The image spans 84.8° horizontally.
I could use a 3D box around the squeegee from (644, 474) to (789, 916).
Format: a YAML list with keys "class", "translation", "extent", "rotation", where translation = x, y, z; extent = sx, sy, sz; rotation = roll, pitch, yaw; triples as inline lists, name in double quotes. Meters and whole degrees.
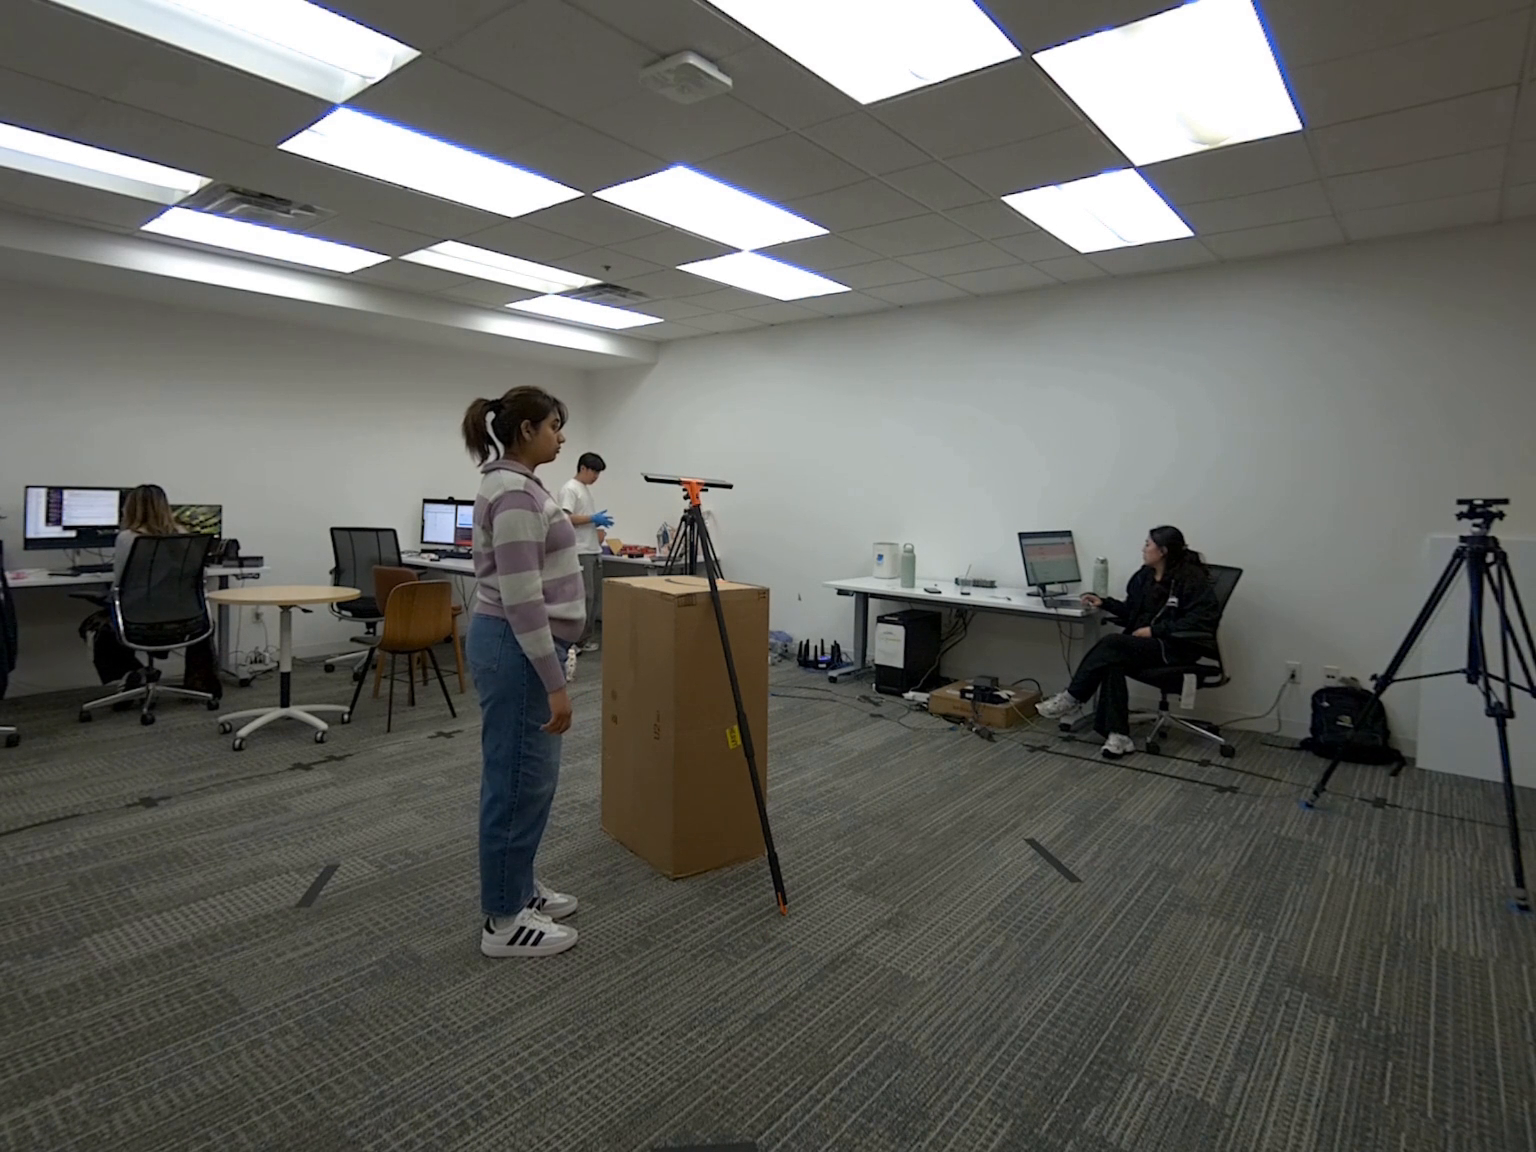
- class: "squeegee"
  translation: [-0.121, 0.356, 2.952]
  extent: [0.423, 1.565, 0.054]
  rotation: [1, -21, -46]
